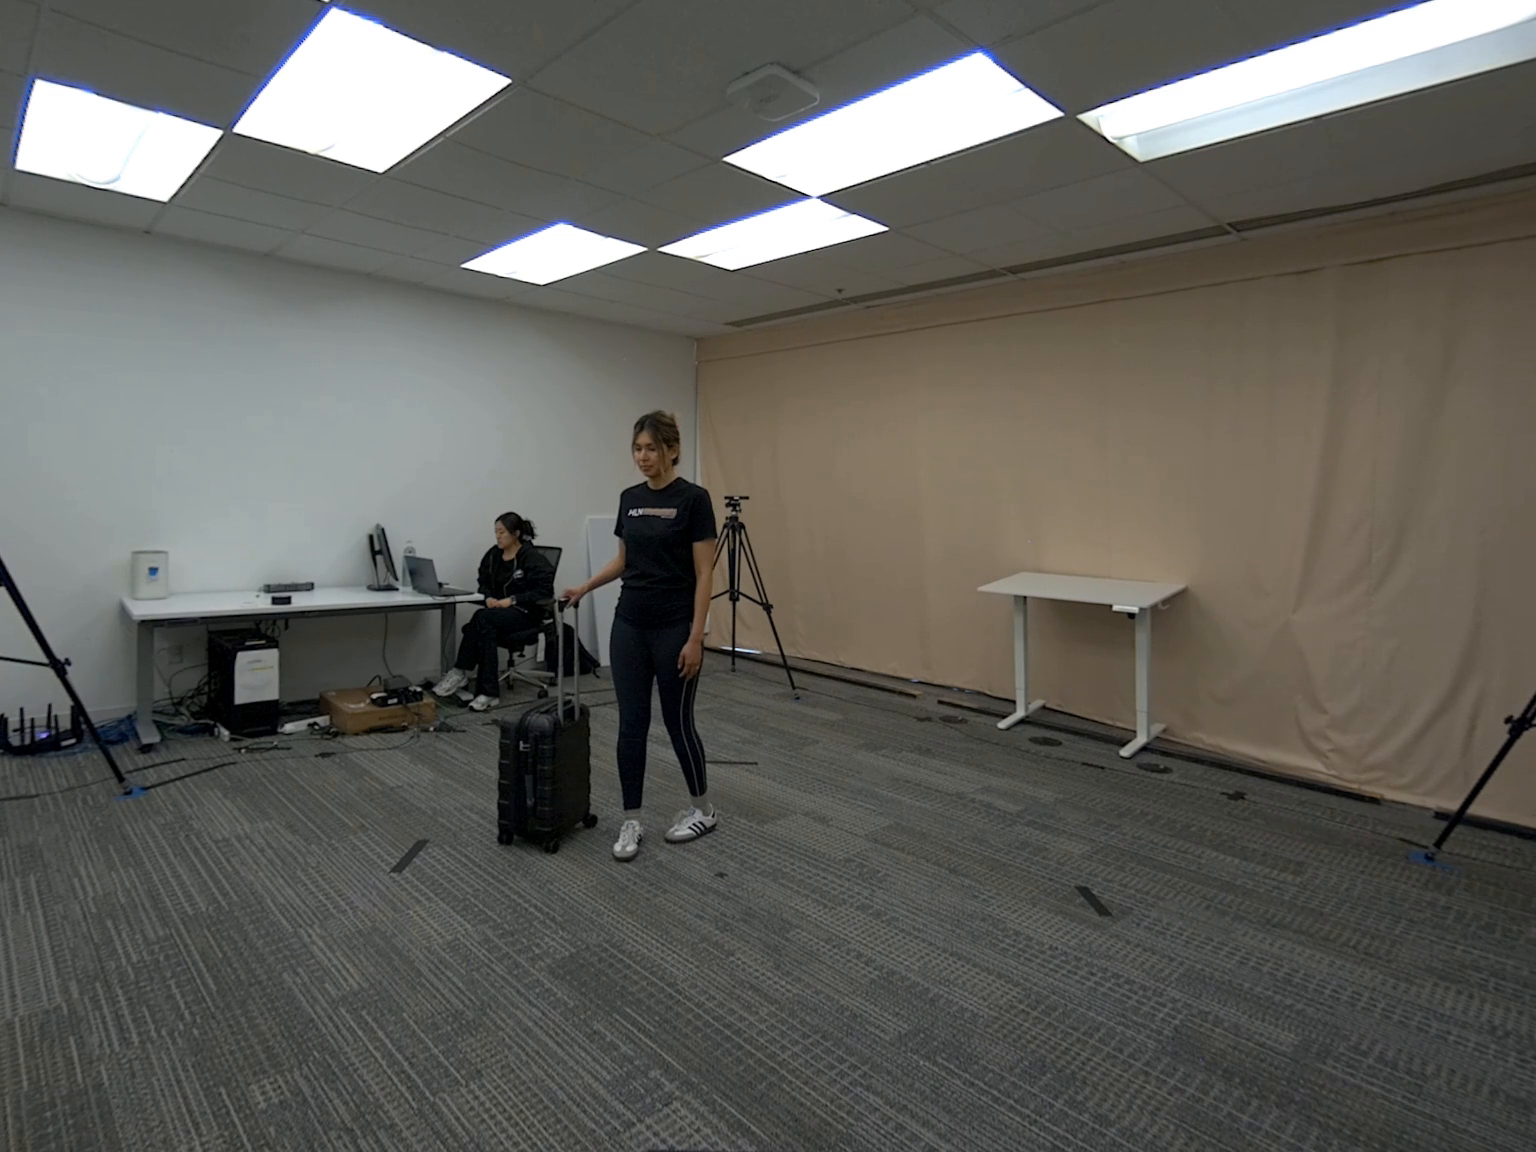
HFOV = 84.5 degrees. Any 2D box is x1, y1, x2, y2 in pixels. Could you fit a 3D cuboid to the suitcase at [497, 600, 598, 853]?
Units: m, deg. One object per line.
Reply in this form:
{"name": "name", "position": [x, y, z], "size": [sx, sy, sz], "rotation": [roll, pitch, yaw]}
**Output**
{"name": "suitcase", "position": [-0.913, 0.583, 3.398], "size": [0.261, 0.976, 0.379], "rotation": [-1, 3, 18]}
